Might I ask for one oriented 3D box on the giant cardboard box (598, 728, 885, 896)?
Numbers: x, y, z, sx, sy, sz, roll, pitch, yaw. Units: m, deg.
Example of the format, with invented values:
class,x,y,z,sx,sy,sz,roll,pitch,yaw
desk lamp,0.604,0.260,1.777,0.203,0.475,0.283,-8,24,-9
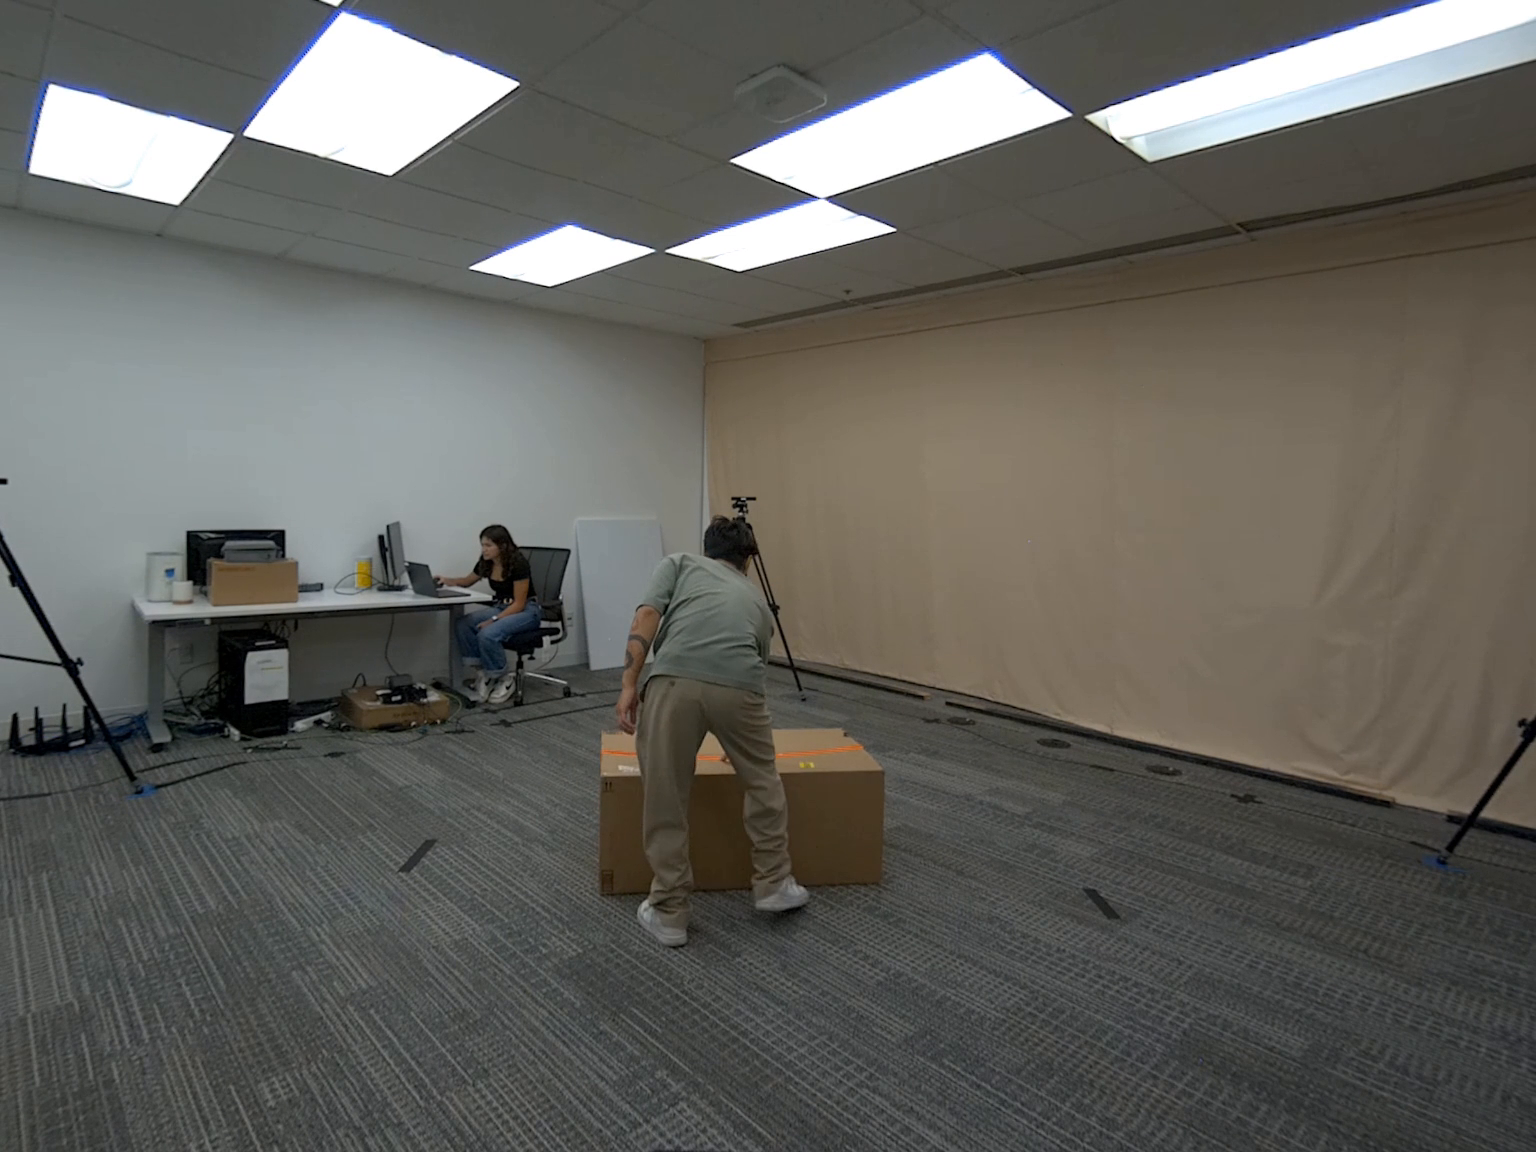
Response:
class,x,y,z,sx,sy,sz,roll,pitch,yaw
giant cardboard box,-0.143,0.879,3.270,1.018,0.425,0.583,1,5,-9
